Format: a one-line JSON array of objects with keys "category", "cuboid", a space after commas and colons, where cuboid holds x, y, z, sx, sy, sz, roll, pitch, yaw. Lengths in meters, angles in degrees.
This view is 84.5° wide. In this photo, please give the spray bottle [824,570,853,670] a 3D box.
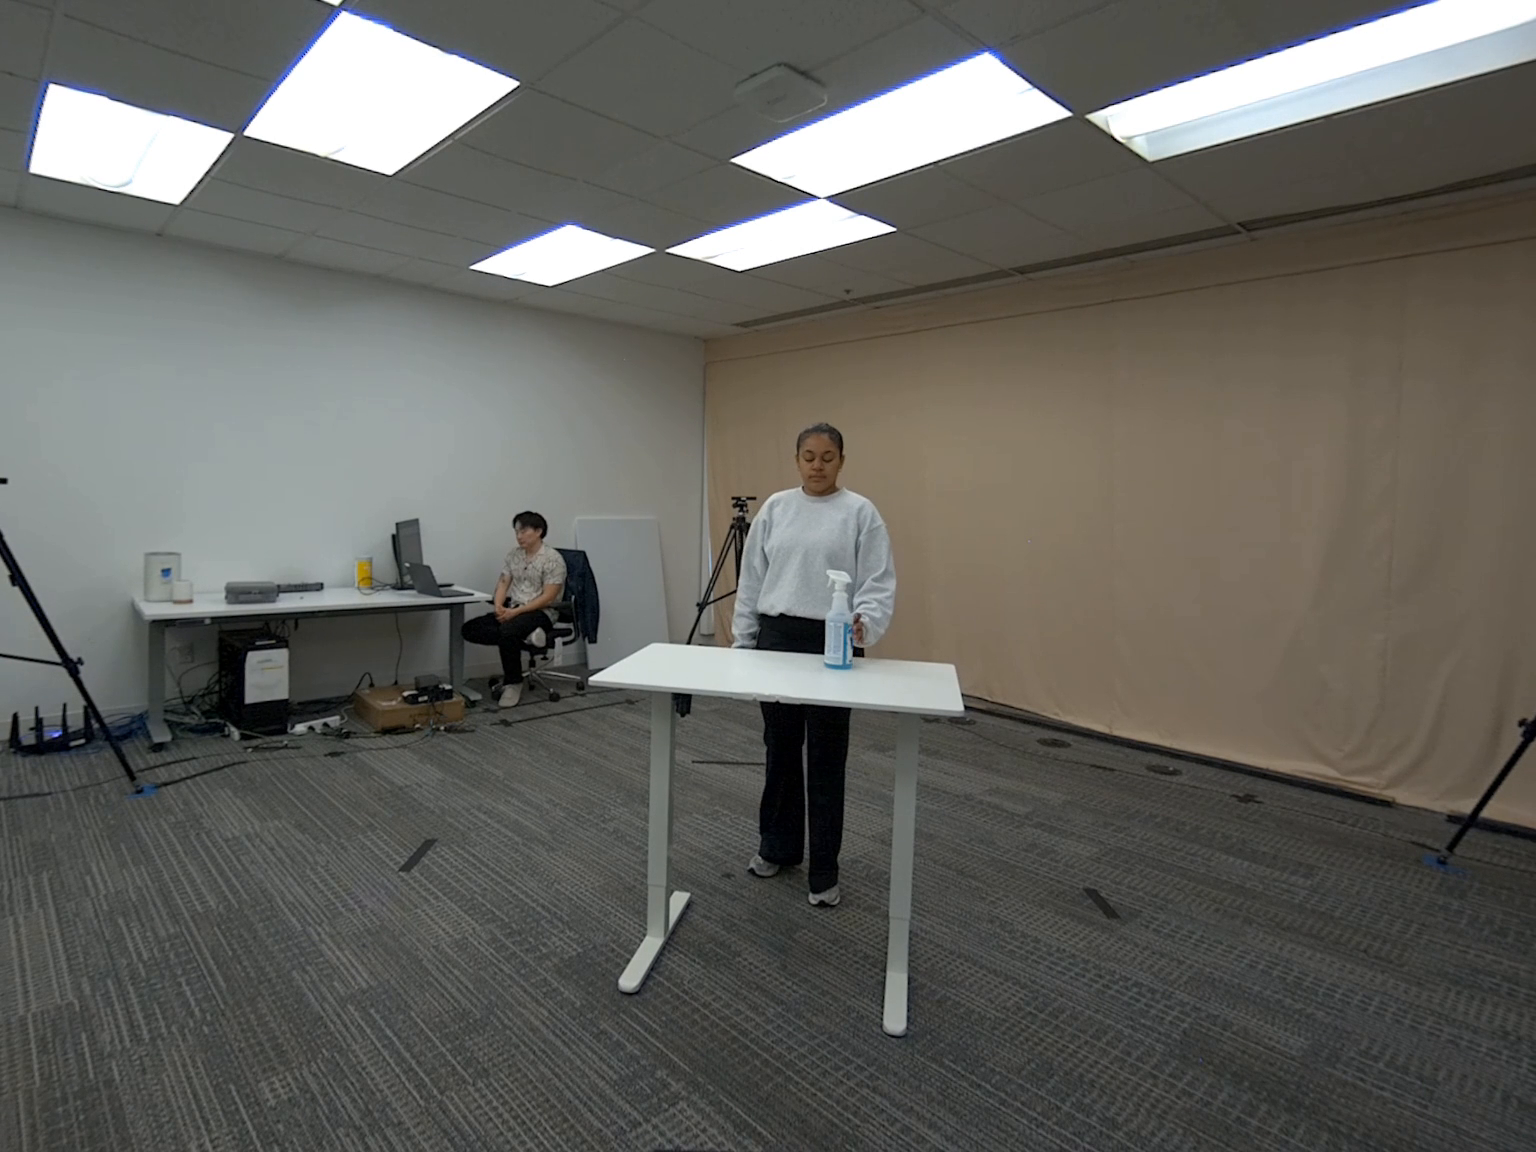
[{"category": "spray bottle", "cuboid": [0.210, 0.137, 2.580, 0.086, 0.297, 0.091, 1, 2, -19]}]
